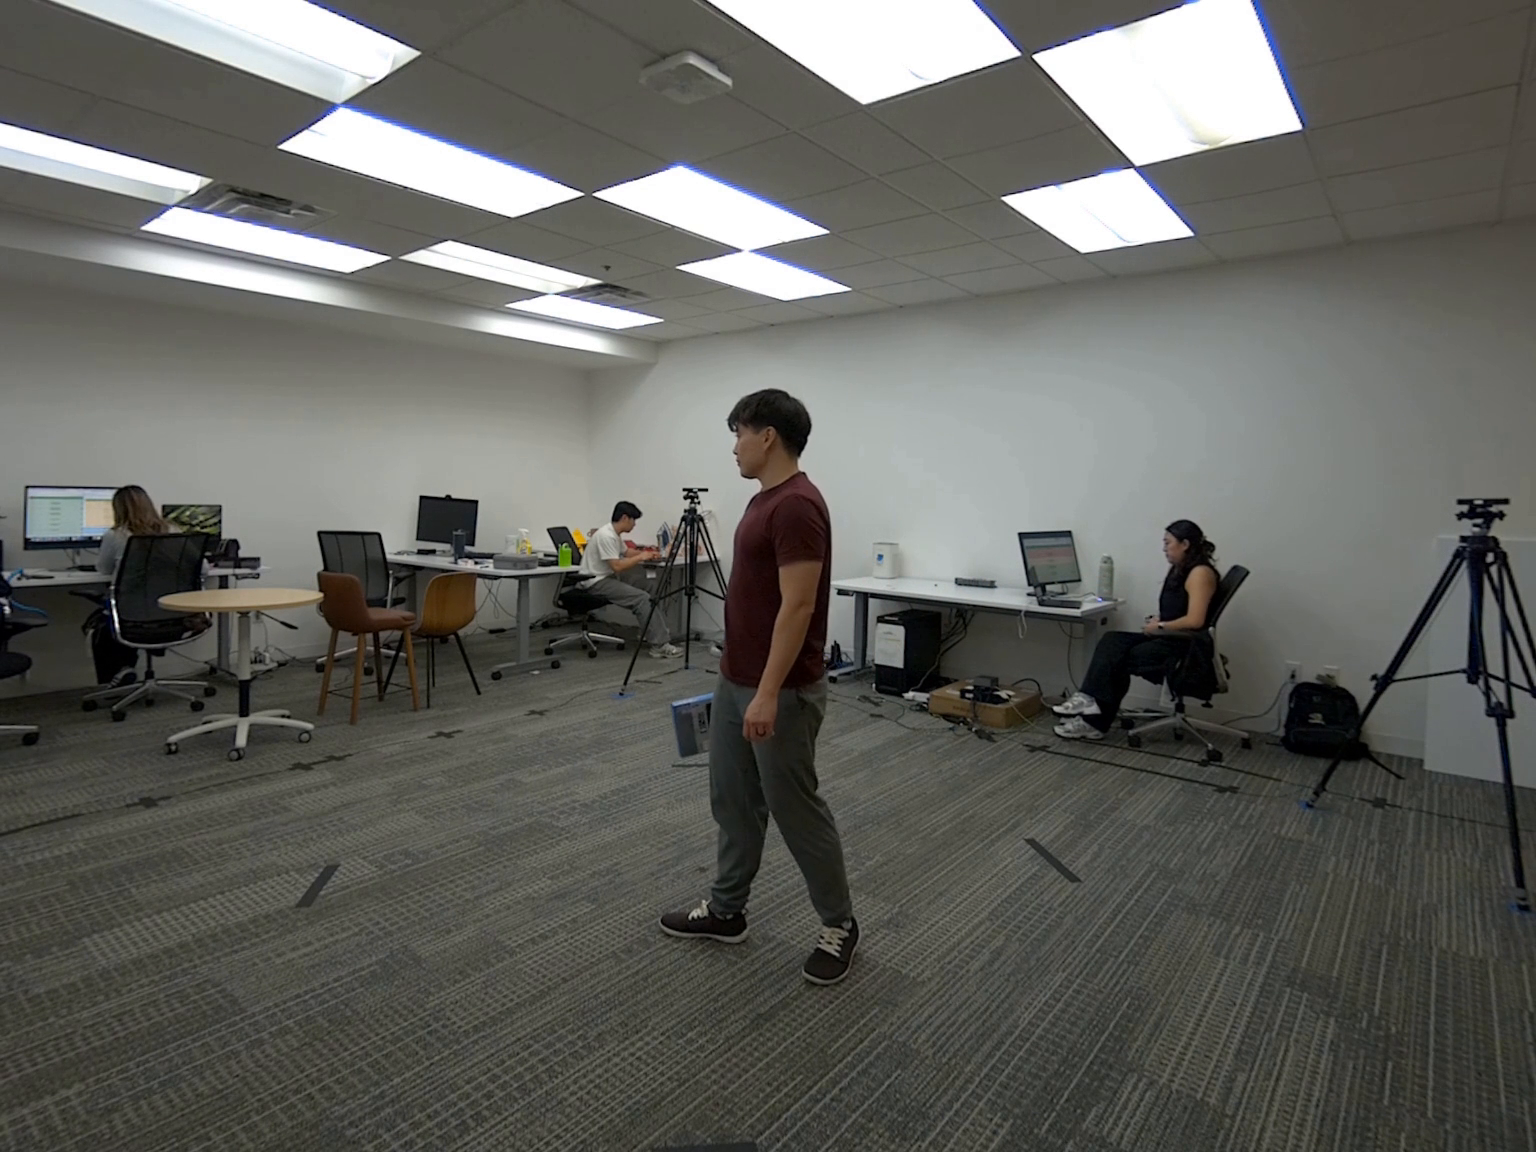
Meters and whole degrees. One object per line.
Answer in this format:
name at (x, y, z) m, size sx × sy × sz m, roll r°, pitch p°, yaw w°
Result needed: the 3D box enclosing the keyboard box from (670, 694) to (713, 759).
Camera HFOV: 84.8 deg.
keyboard box at (-0.103, 0.451, 2.792) m, size 0.431 × 0.175 × 0.060 m, roll -10°, pitch 3°, yaw -14°
